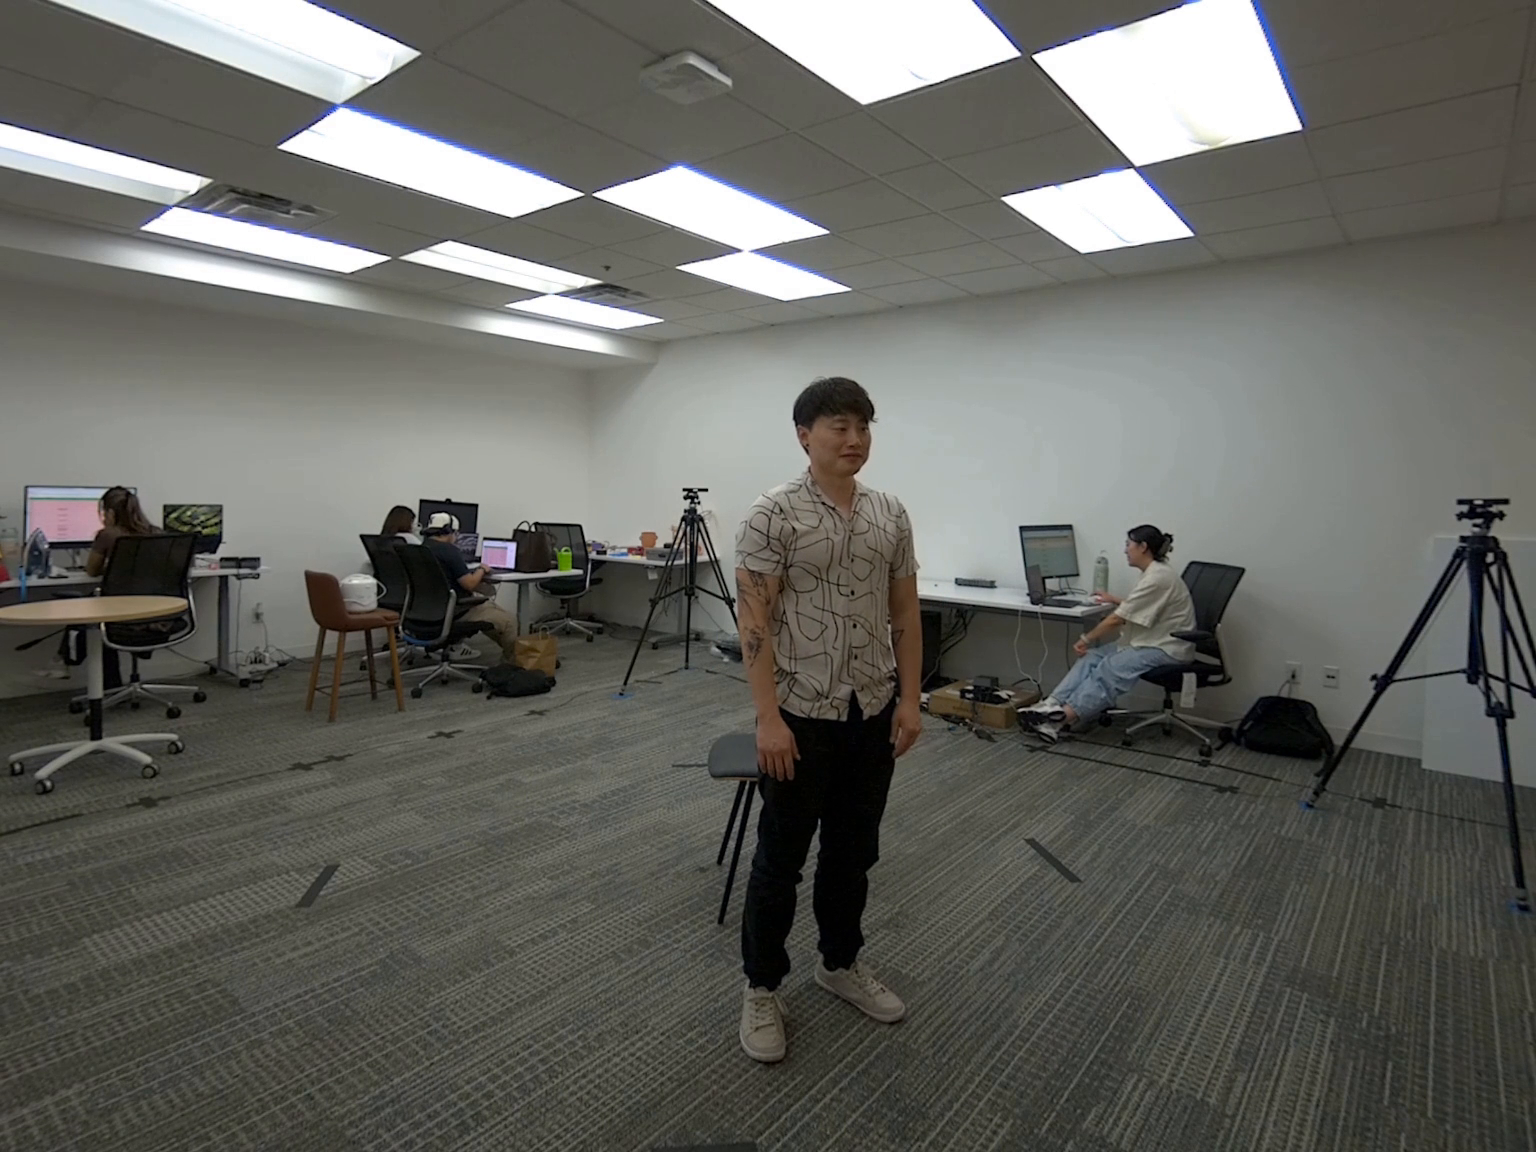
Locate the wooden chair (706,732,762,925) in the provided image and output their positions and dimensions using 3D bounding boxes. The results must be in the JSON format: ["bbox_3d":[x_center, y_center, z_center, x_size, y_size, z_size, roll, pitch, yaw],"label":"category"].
[{"bbox_3d":[0.047,0.667,2.907,0.522,0.875,0.480,5,4,-2],"label":"wooden chair"}]
